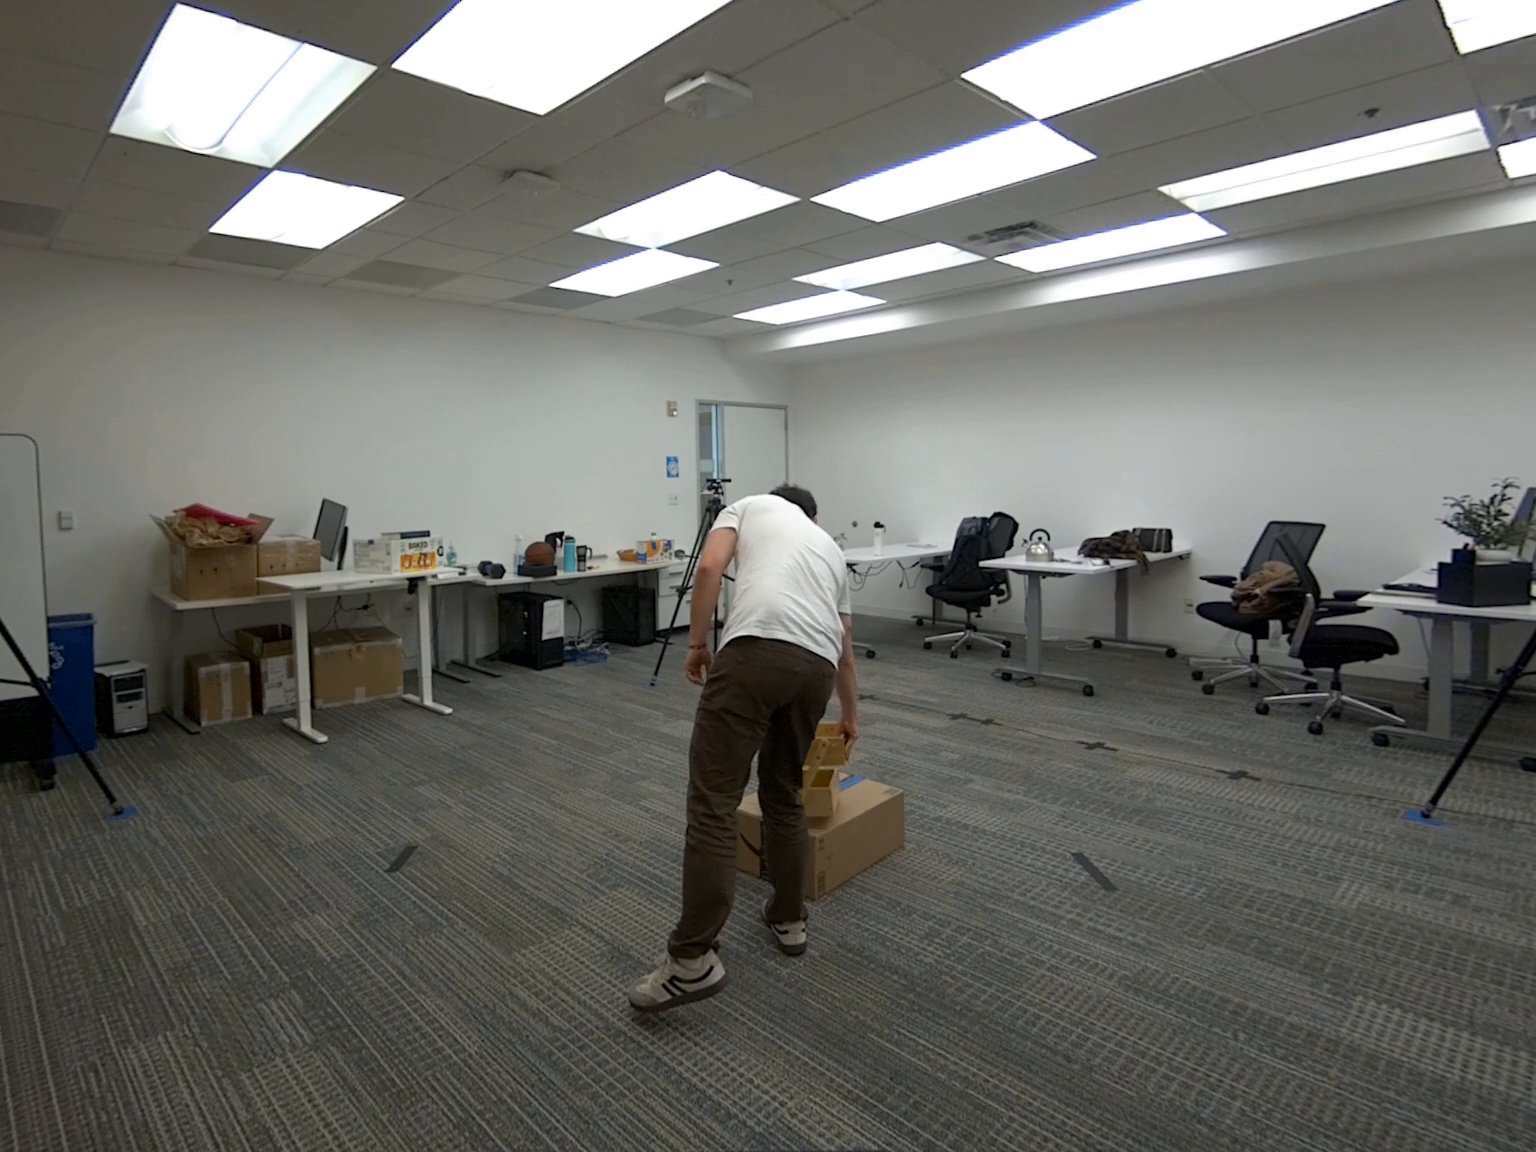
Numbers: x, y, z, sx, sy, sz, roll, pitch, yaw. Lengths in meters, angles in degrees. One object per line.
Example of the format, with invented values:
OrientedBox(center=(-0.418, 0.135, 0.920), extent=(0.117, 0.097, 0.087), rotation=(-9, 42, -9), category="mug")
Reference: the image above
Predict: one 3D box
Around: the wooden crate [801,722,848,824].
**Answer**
OrientedBox(center=(0.133, 0.677, 3.035), extent=(0.305, 0.274, 0.320), rotation=(-4, -2, 10), category="wooden crate")
